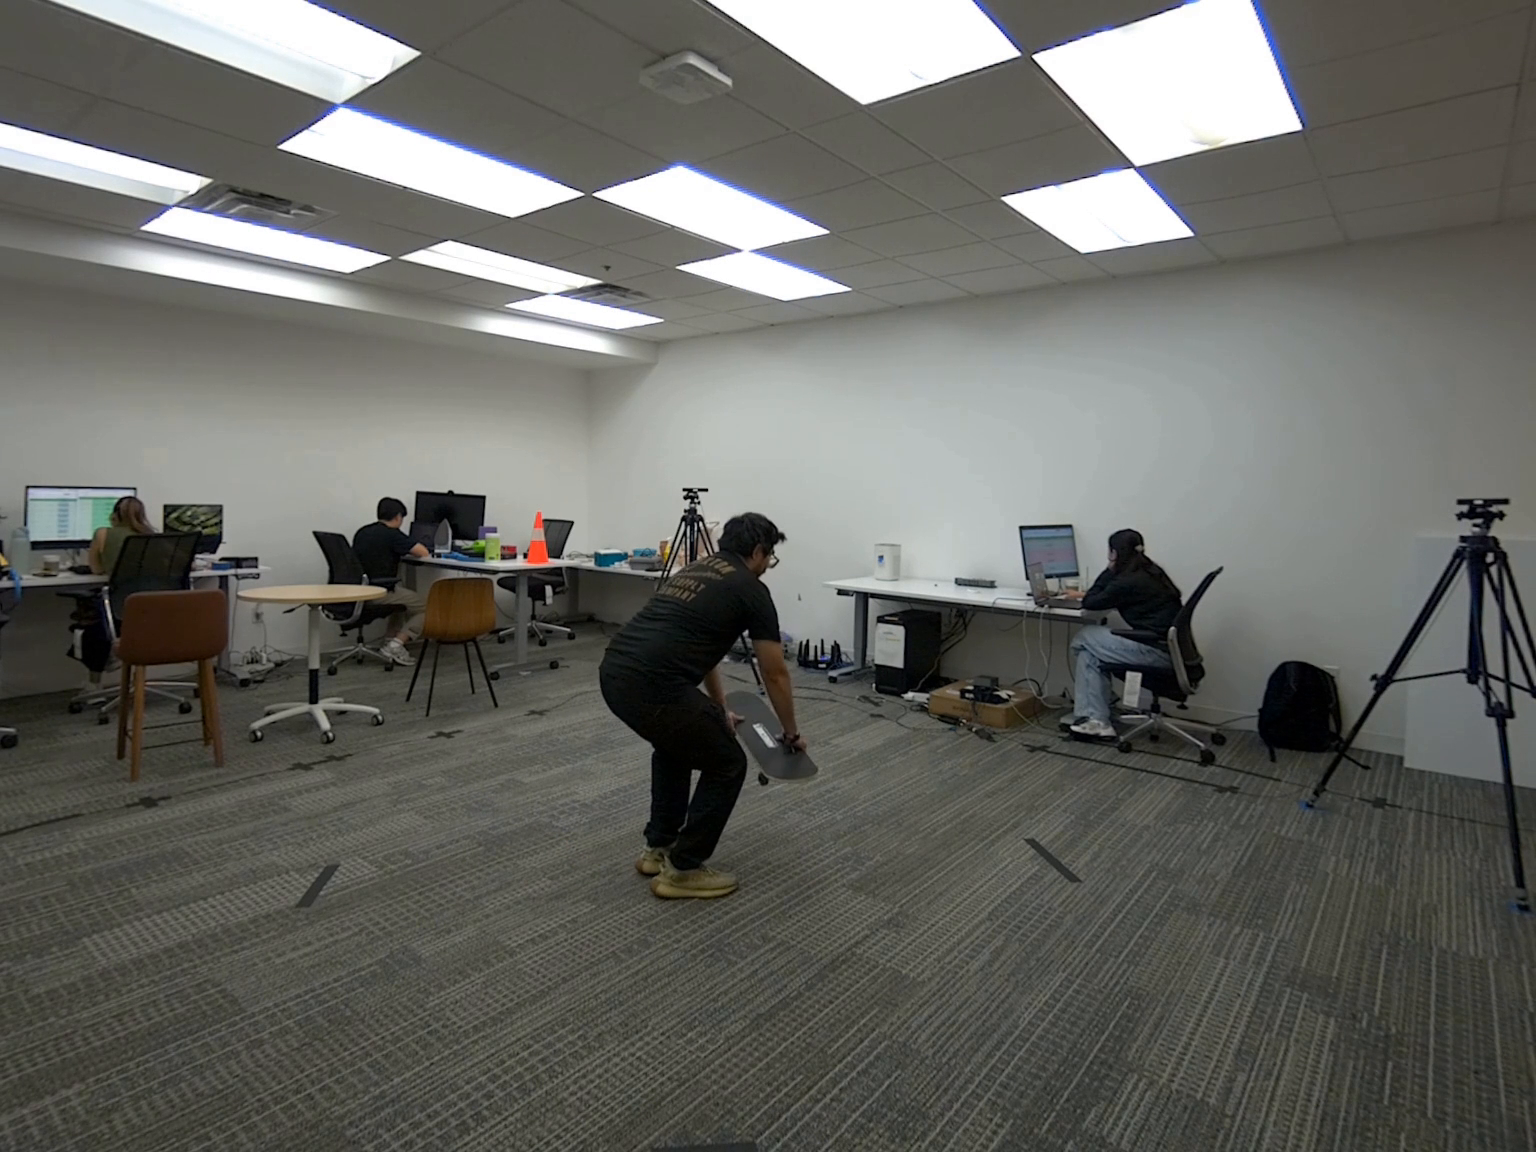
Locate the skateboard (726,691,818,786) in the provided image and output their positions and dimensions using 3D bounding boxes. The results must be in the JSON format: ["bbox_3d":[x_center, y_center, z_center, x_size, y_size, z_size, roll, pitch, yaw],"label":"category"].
[{"bbox_3d":[-0.019,0.645,3.279,0.190,0.109,0.809,-7,17,-17],"label":"skateboard"}]
